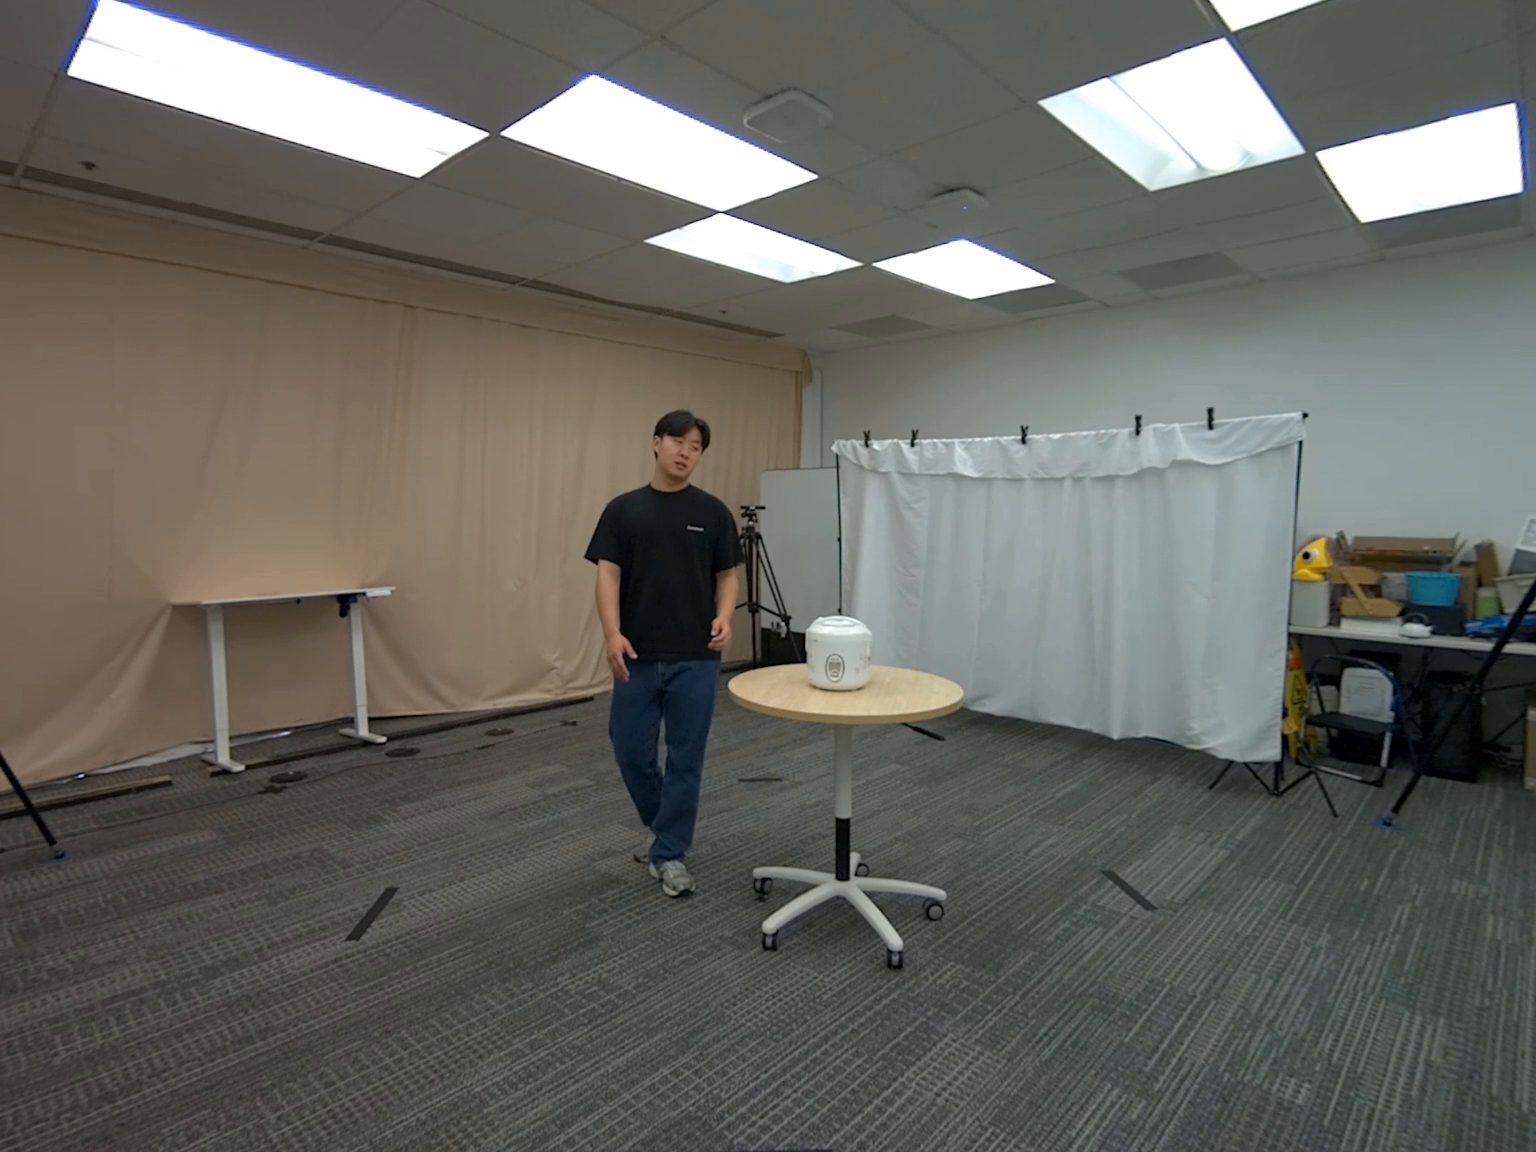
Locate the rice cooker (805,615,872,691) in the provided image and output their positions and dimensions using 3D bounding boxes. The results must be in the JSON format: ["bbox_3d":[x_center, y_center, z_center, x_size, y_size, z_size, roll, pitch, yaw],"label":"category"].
[{"bbox_3d":[0.240,0.250,2.779,0.224,0.232,0.215,1,4,11],"label":"rice cooker"}]
